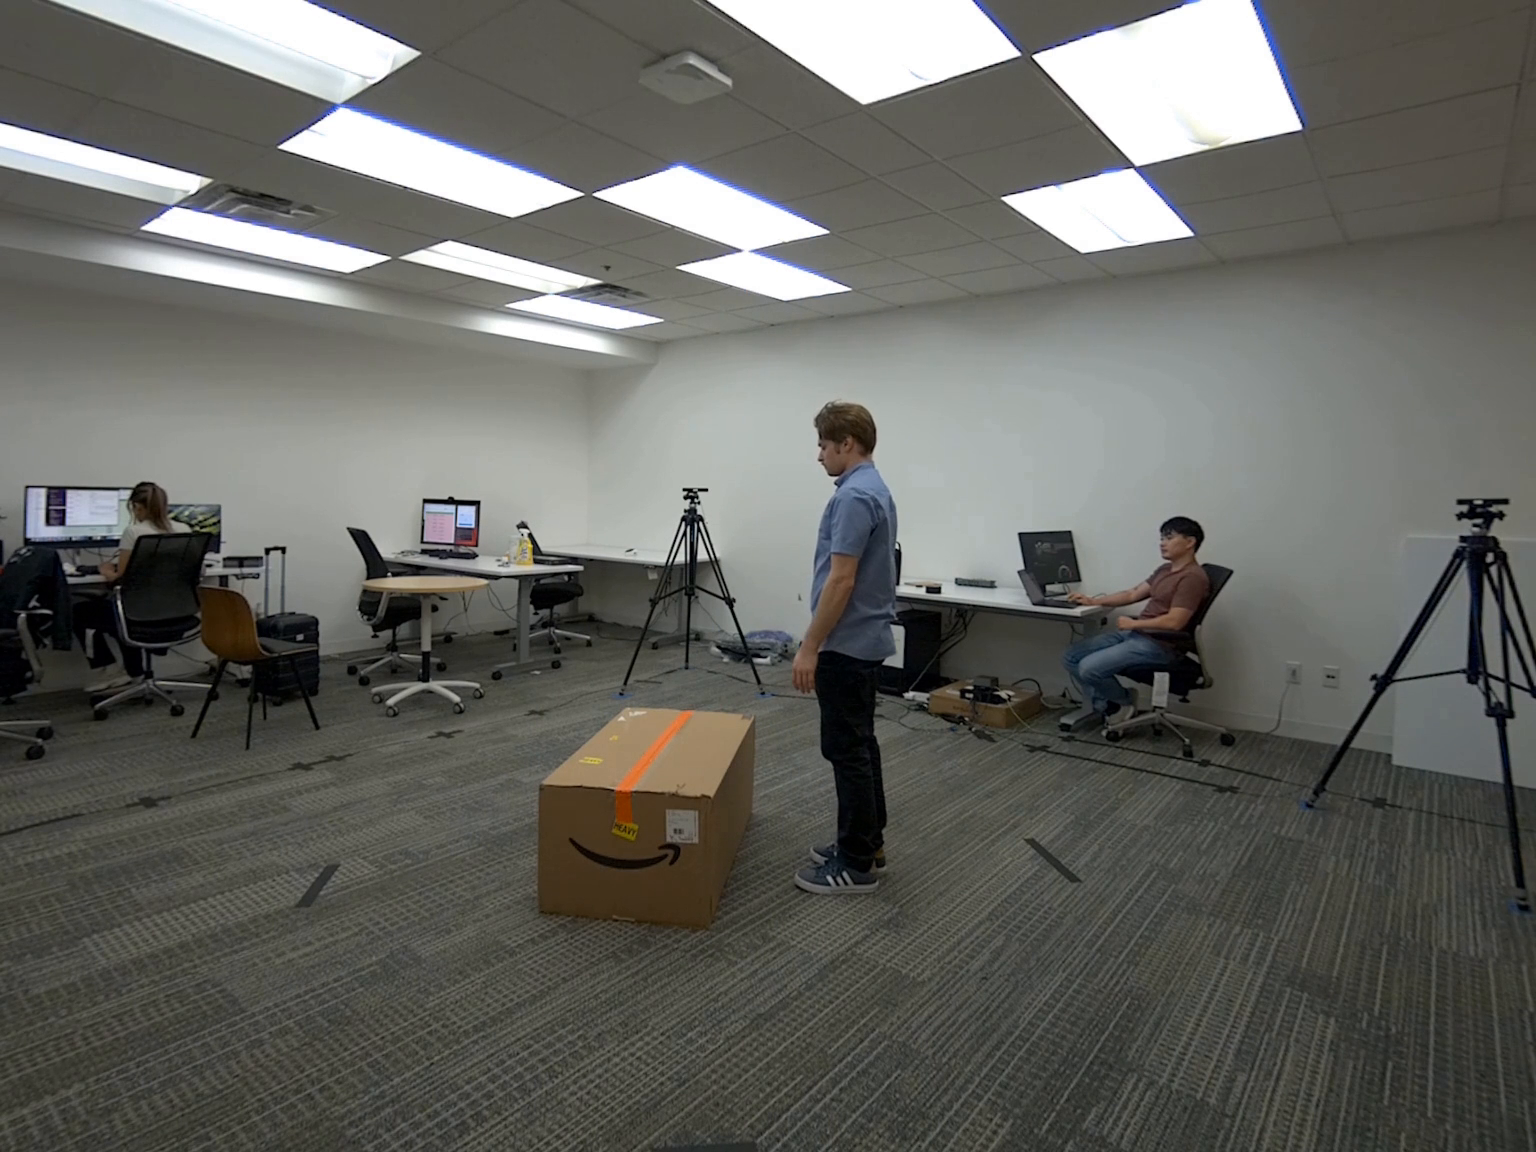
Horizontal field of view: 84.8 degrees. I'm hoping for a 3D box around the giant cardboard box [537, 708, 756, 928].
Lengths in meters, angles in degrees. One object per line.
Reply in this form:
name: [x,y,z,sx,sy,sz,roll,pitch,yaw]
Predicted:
giant cardboard box: [-0.415,0.842,3.206,0.590,0.445,1.021,3,5,7]
